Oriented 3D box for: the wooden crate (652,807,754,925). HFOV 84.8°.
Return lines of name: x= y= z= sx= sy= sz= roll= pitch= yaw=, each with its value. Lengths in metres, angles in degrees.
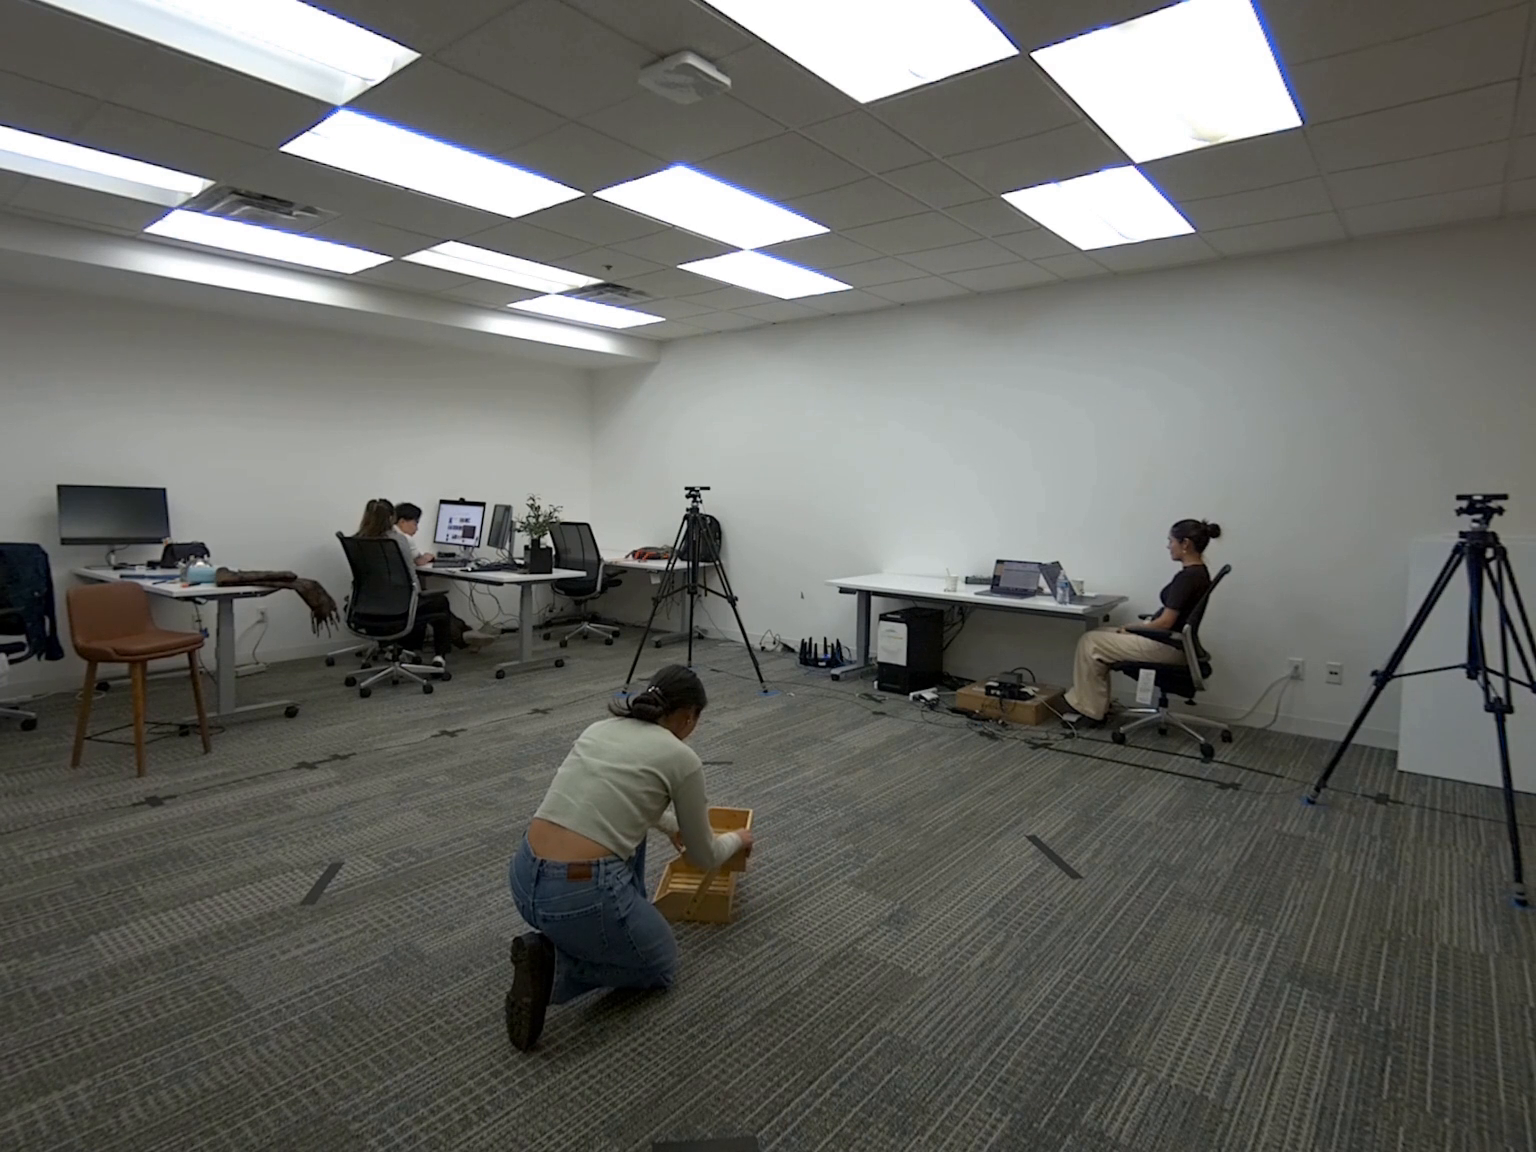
wooden crate: x=-0.228 y=0.954 z=2.861 sx=0.303 sy=0.272 sz=0.324 roll=1 pitch=5 yaw=3
